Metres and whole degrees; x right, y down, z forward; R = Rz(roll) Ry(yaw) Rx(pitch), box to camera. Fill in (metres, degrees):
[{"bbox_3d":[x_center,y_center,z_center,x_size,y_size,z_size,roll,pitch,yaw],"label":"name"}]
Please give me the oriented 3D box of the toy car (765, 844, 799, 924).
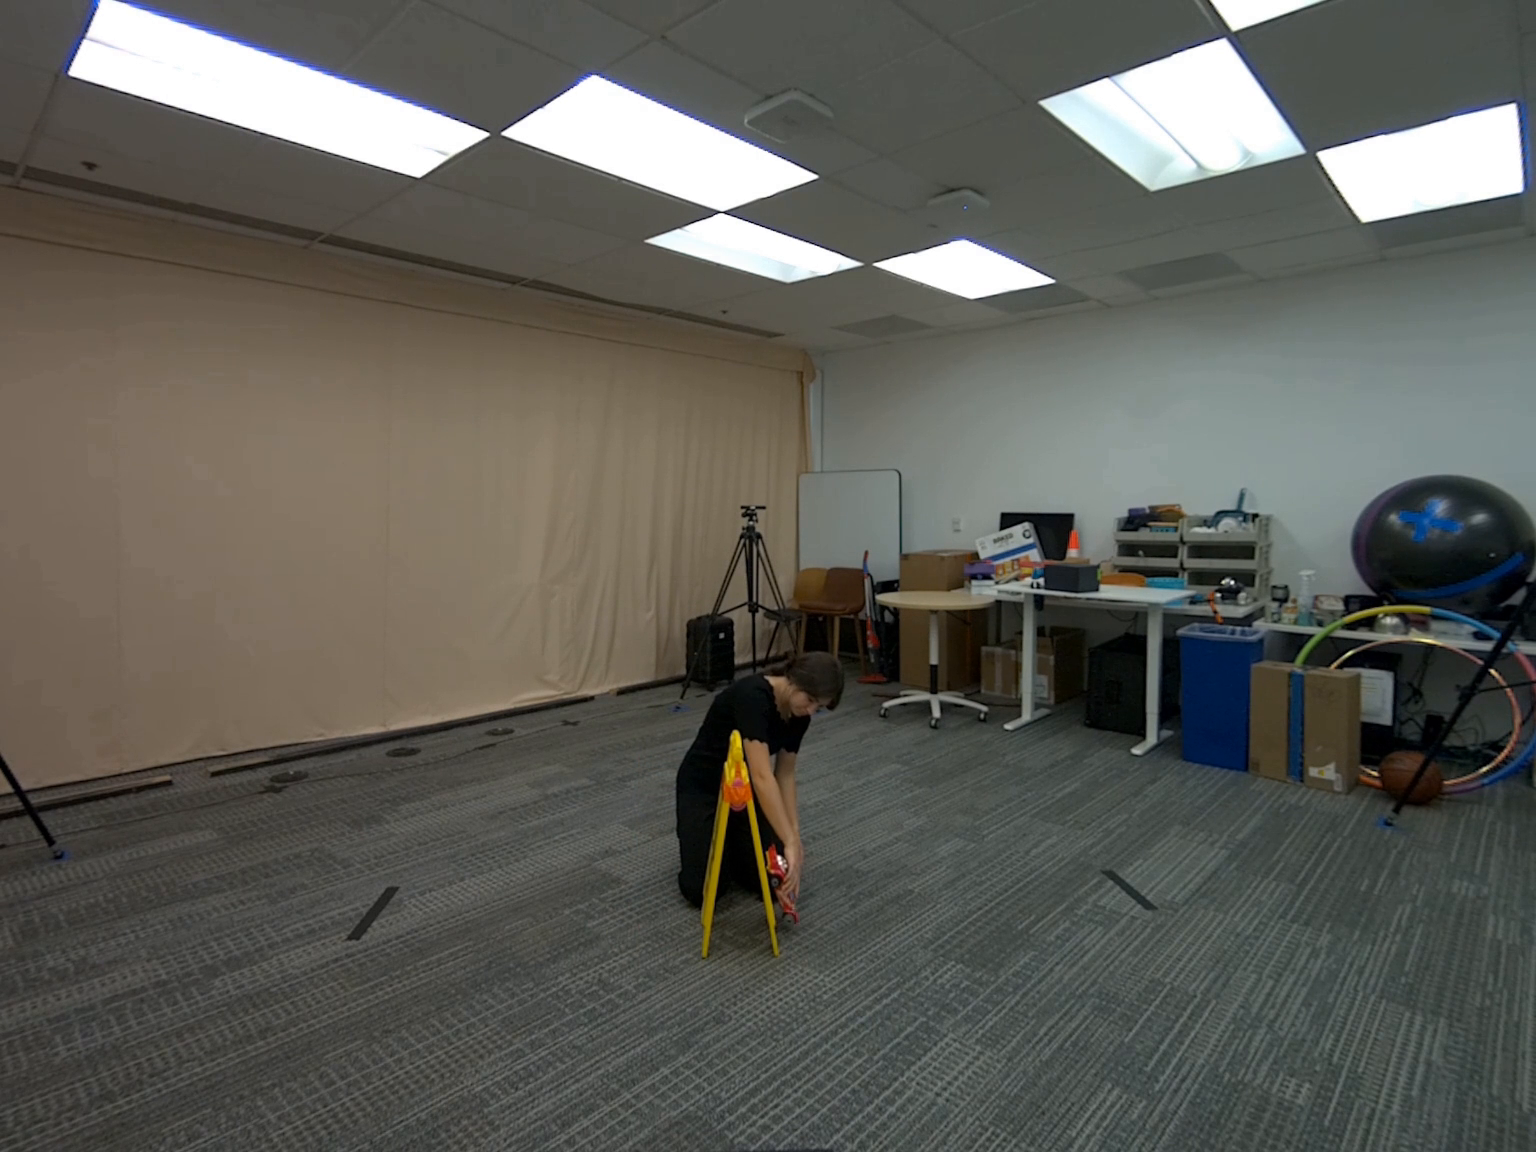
[{"bbox_3d":[0.038,1.006,2.747,0.083,0.253,0.131,-8,9,-1],"label":"toy car"}]
